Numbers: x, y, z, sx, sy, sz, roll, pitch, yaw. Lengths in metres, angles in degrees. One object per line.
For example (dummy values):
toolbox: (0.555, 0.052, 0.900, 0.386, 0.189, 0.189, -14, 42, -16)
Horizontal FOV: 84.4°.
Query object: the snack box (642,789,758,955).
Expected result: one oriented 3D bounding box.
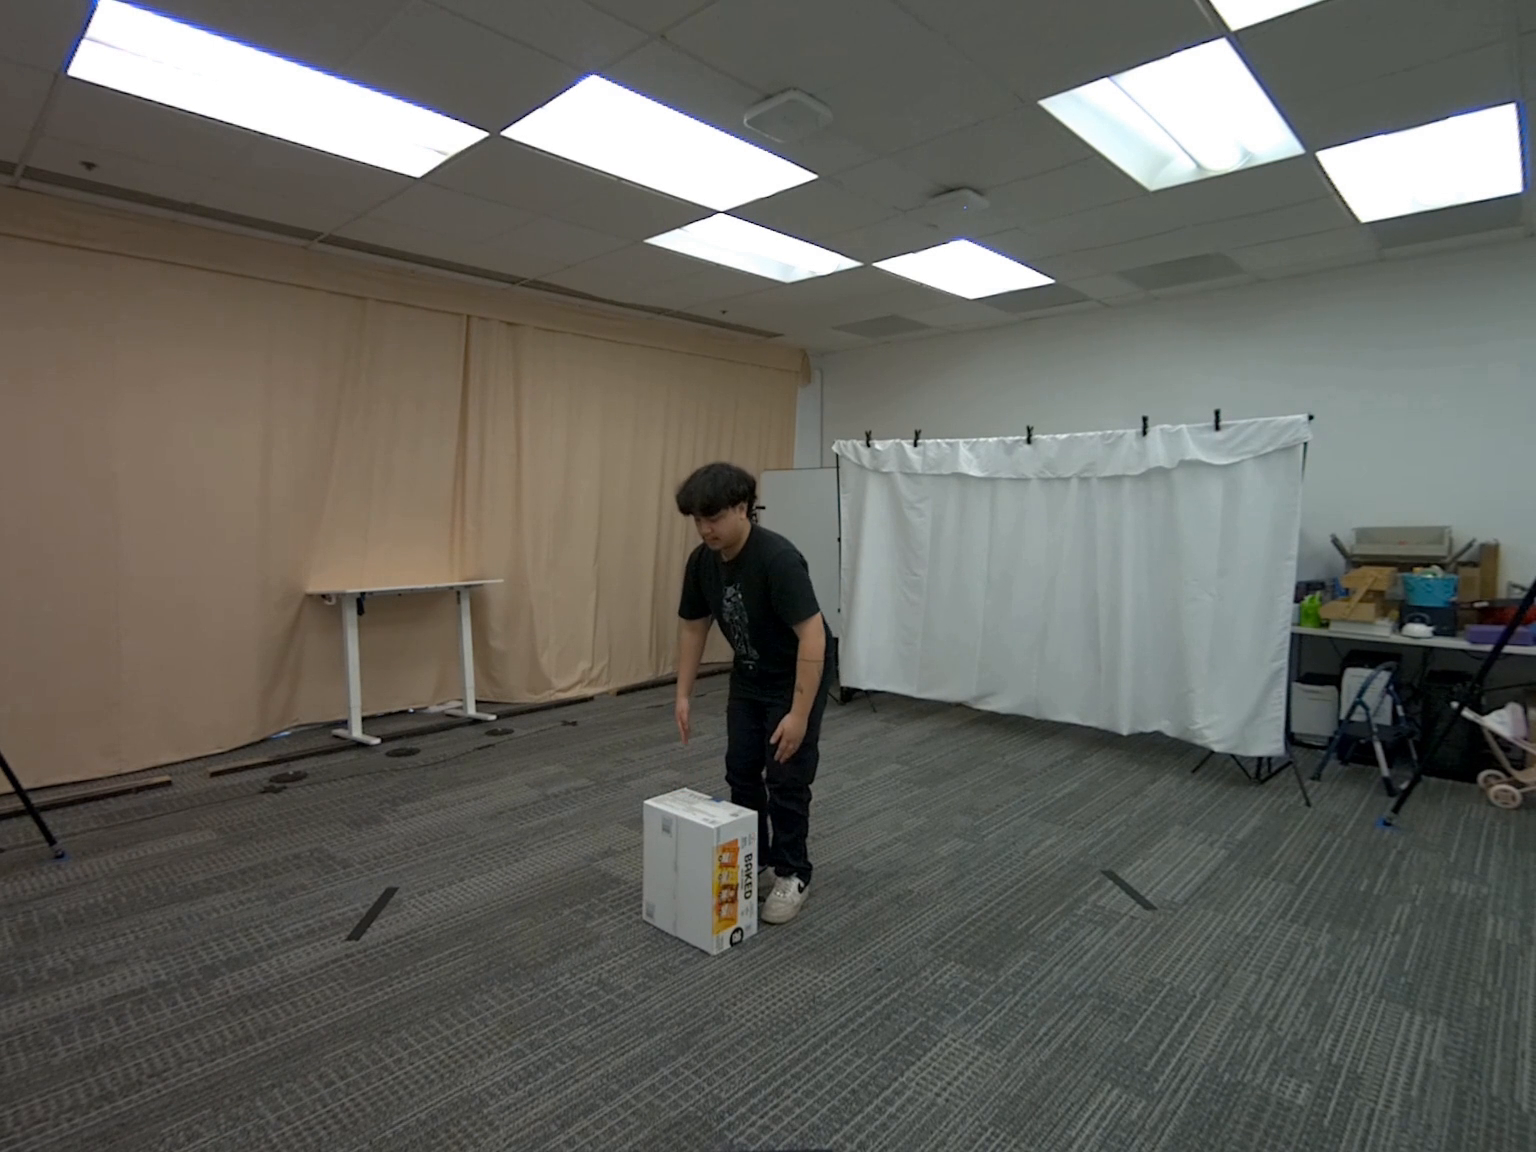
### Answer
snack box: (-0.226, 0.958, 2.786, 0.352, 0.404, 0.199, 3, 4, 42)
